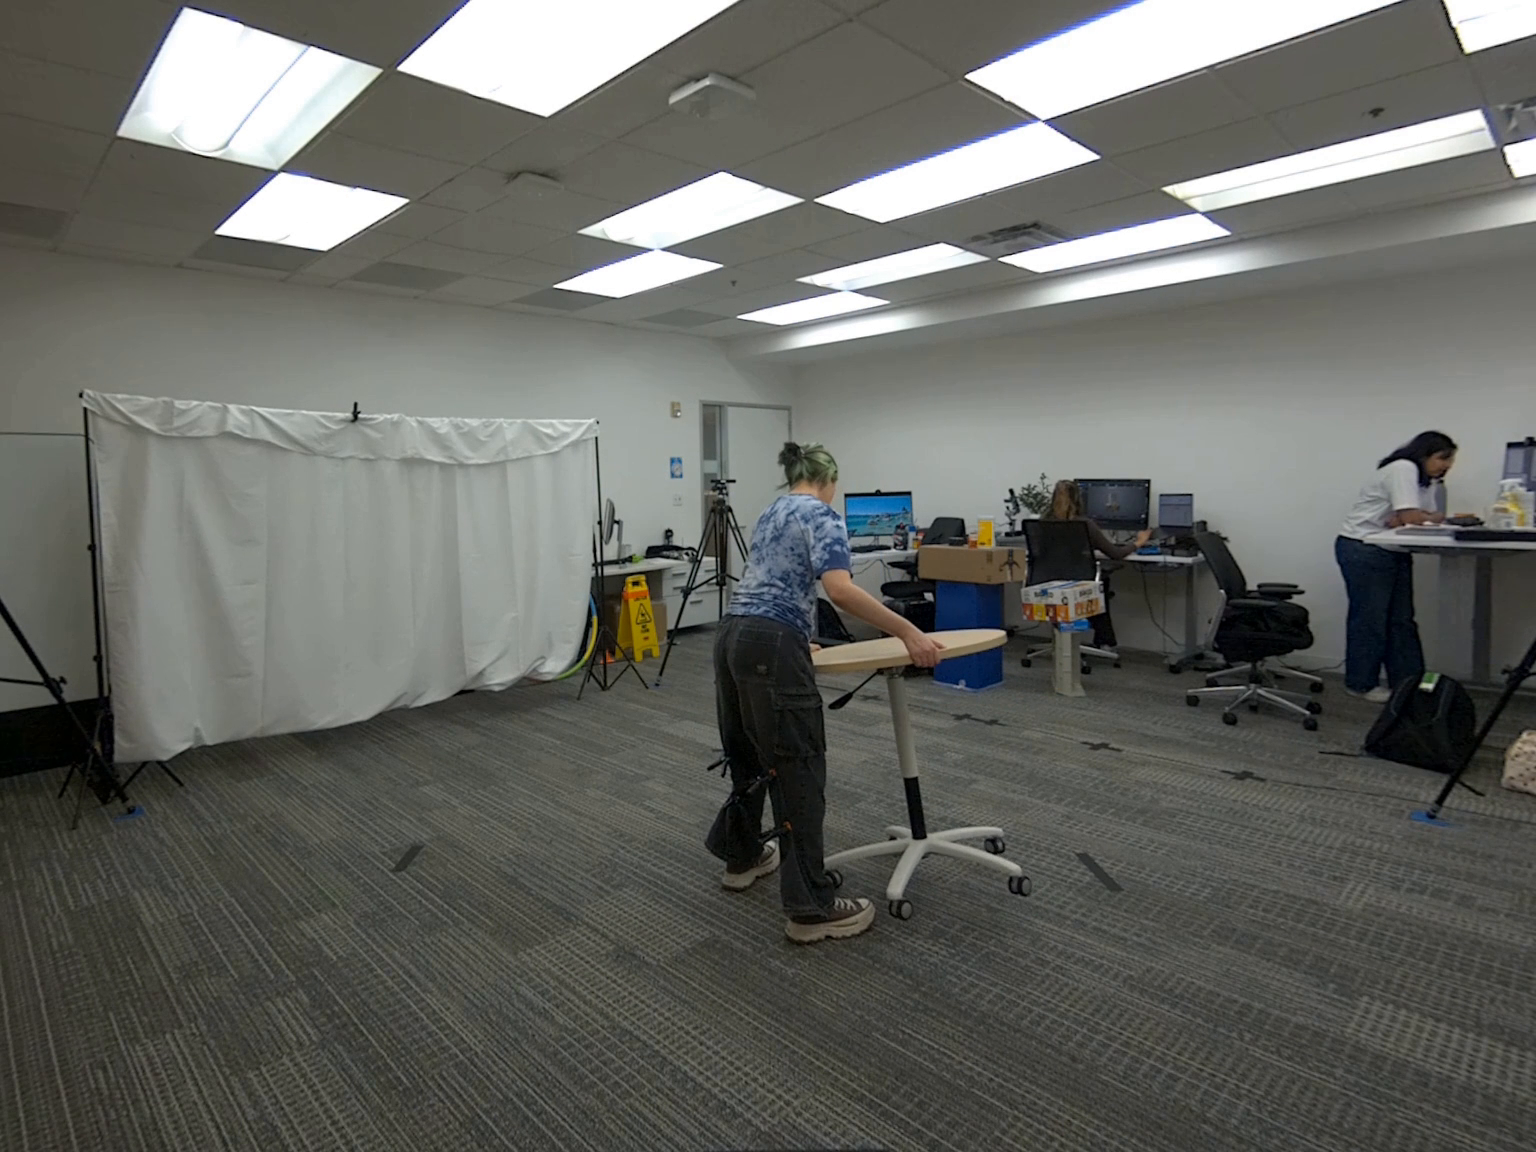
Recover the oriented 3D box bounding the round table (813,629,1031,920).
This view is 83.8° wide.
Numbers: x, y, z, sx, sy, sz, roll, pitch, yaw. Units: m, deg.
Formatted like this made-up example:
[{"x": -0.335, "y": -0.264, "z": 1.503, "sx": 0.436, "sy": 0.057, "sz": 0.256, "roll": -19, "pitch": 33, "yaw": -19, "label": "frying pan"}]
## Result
[{"x": 0.482, "y": 0.634, "z": 2.895, "sx": 0.763, "sy": 0.797, "sz": 0.762, "roll": -8, "pitch": -2, "yaw": -2, "label": "round table"}]
